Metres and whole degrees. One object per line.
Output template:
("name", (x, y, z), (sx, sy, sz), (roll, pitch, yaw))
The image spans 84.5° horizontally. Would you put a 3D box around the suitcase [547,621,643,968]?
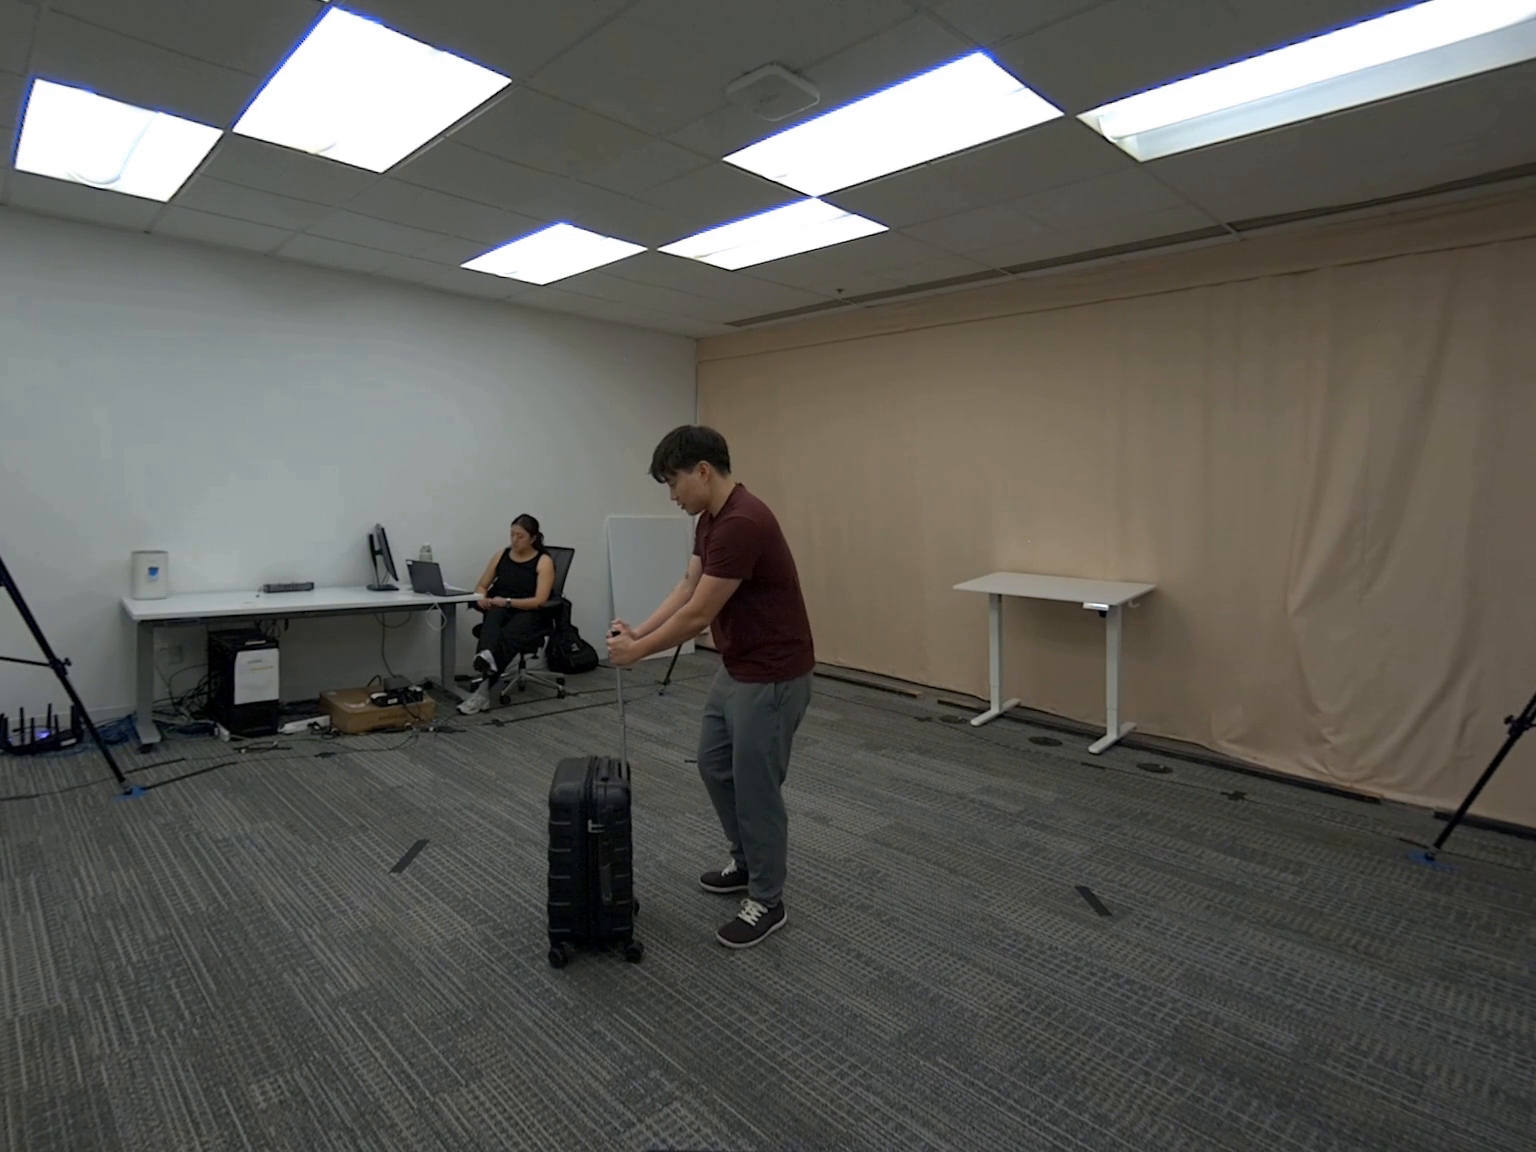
("suitcase", (-0.559, 0.670, 2.625), (0.255, 0.976, 0.387), (-2, 3, -9))
